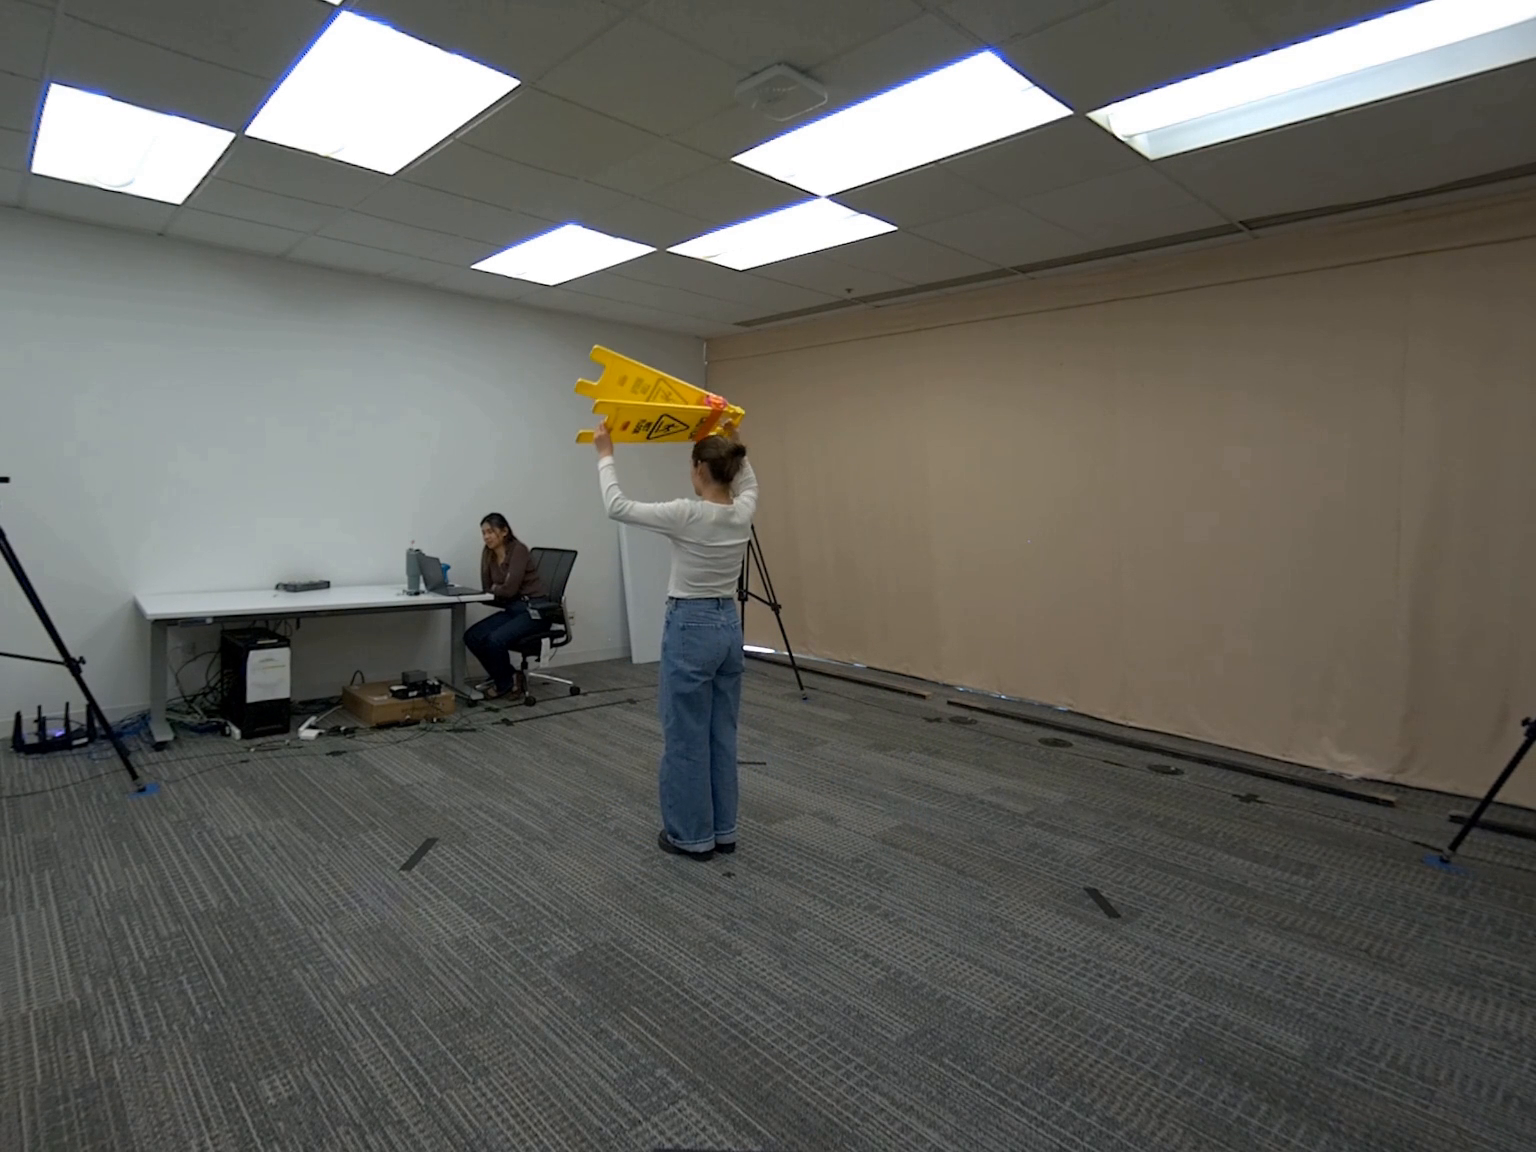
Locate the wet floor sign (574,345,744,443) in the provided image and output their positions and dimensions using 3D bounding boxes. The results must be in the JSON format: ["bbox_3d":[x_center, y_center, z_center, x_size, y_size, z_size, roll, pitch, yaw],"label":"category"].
[{"bbox_3d":[-0.423,-0.658,3.355,0.632,0.296,0.282,7,-30,-27],"label":"wet floor sign"}]
